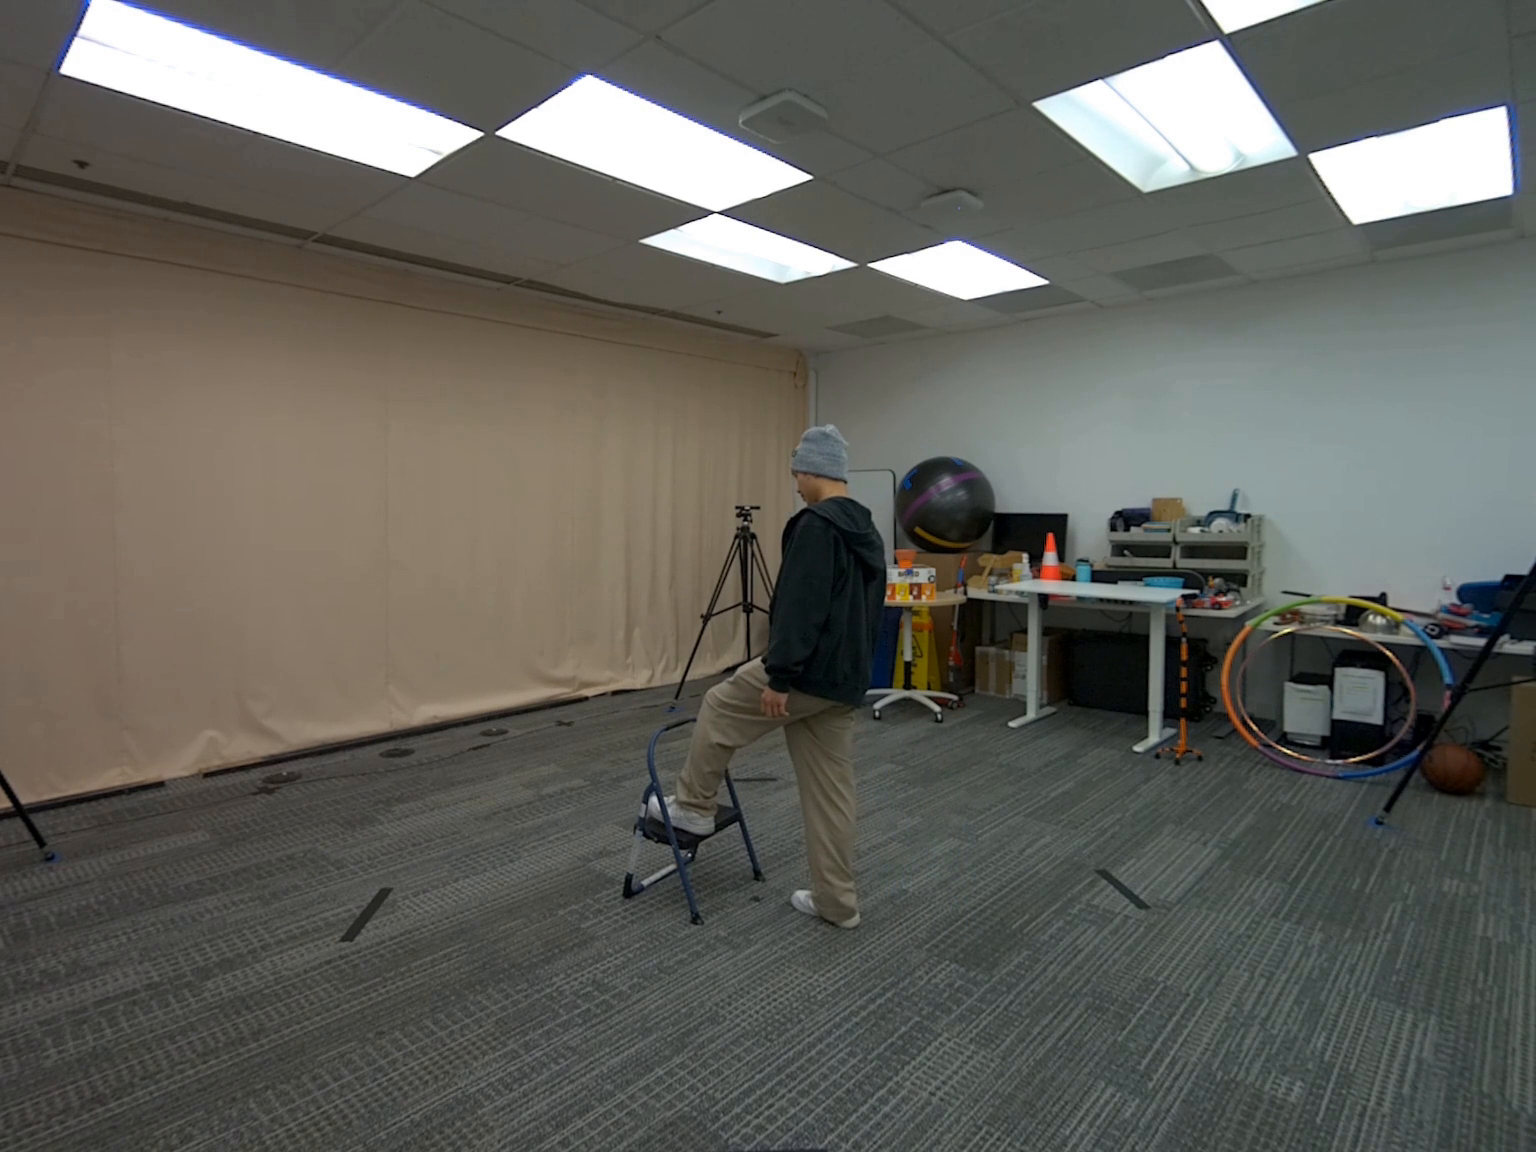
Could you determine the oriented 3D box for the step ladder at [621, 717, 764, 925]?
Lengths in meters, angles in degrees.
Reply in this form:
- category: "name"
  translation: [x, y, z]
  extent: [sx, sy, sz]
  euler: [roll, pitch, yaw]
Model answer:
- category: "step ladder"
  translation: [-0.268, 0.837, 3.055]
  extent: [0.360, 0.605, 0.419]
  euler: [1, 4, 32]
